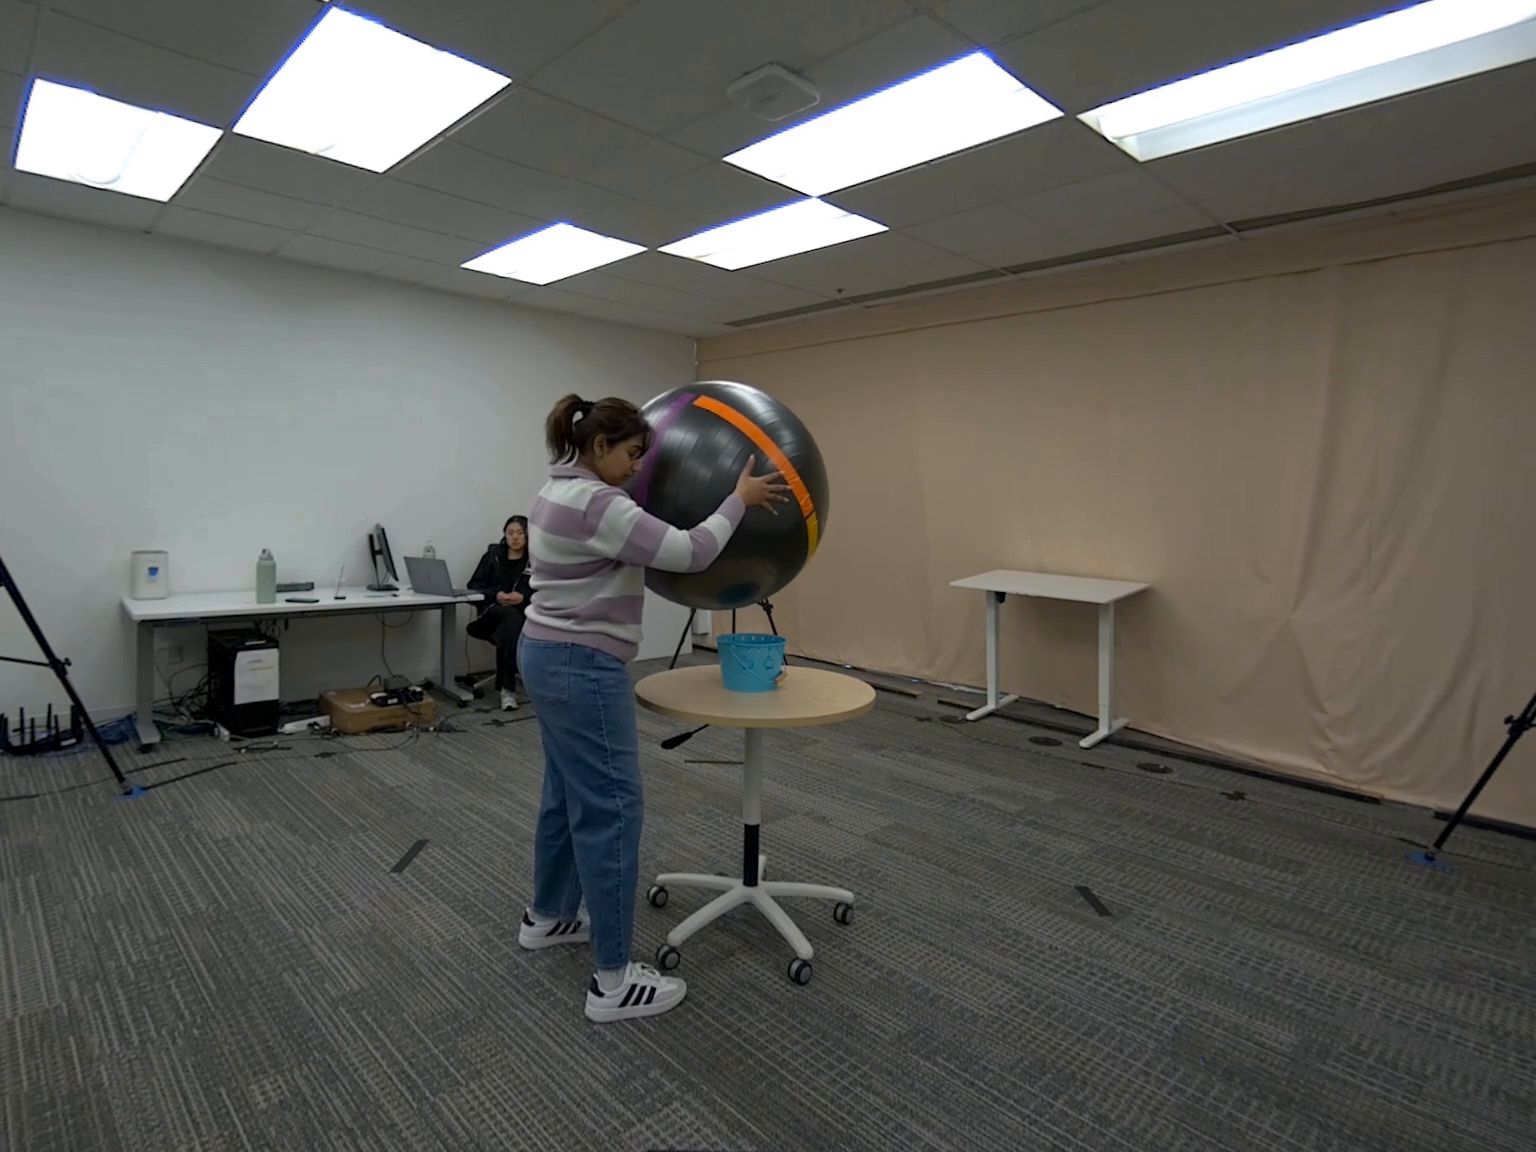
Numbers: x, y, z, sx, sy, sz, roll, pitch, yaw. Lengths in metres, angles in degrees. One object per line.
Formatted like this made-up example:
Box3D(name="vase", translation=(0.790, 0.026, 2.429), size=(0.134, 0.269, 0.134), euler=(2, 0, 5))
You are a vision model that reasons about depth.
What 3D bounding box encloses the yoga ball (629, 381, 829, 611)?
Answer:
Box3D(name="yoga ball", translation=(-0.176, -0.259, 2.809), size=(0.757, 0.756, 0.761), euler=(1, 4, -1))
